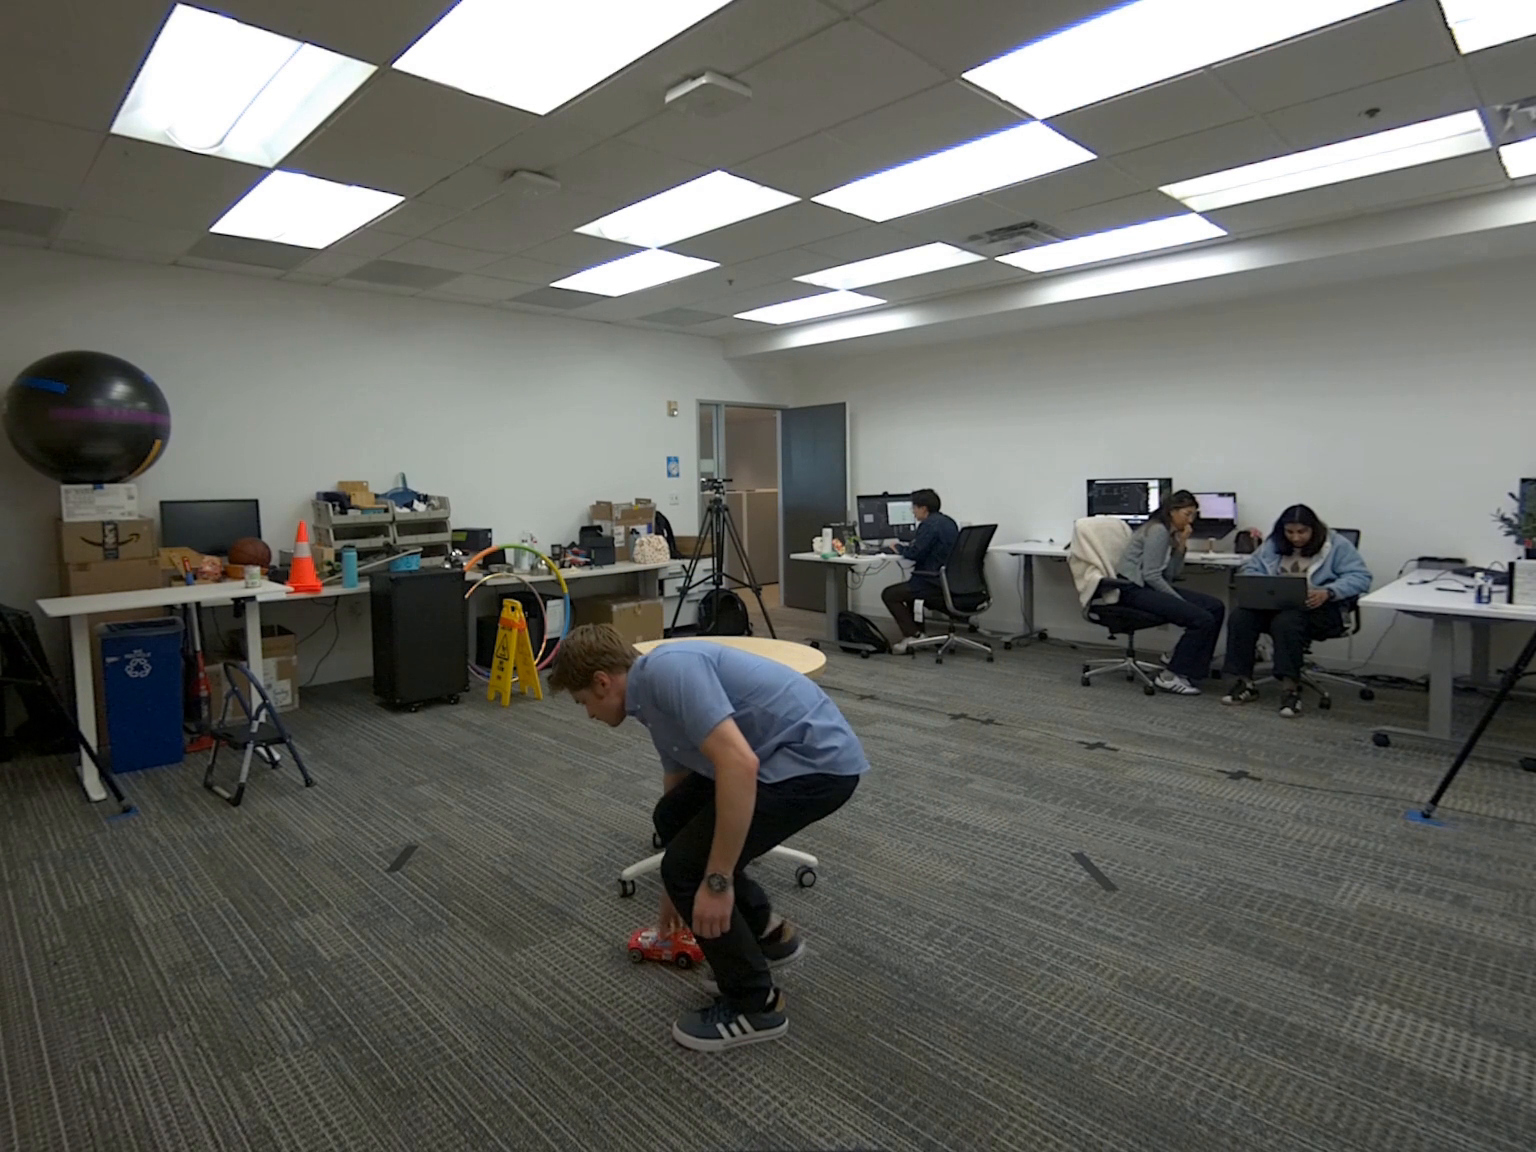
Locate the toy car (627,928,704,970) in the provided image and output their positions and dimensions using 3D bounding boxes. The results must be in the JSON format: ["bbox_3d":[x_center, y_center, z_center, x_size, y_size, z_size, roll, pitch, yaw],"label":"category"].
[{"bbox_3d":[-0.276,1.093,2.509,0.258,0.083,0.129,-11,5,17],"label":"toy car"}]
